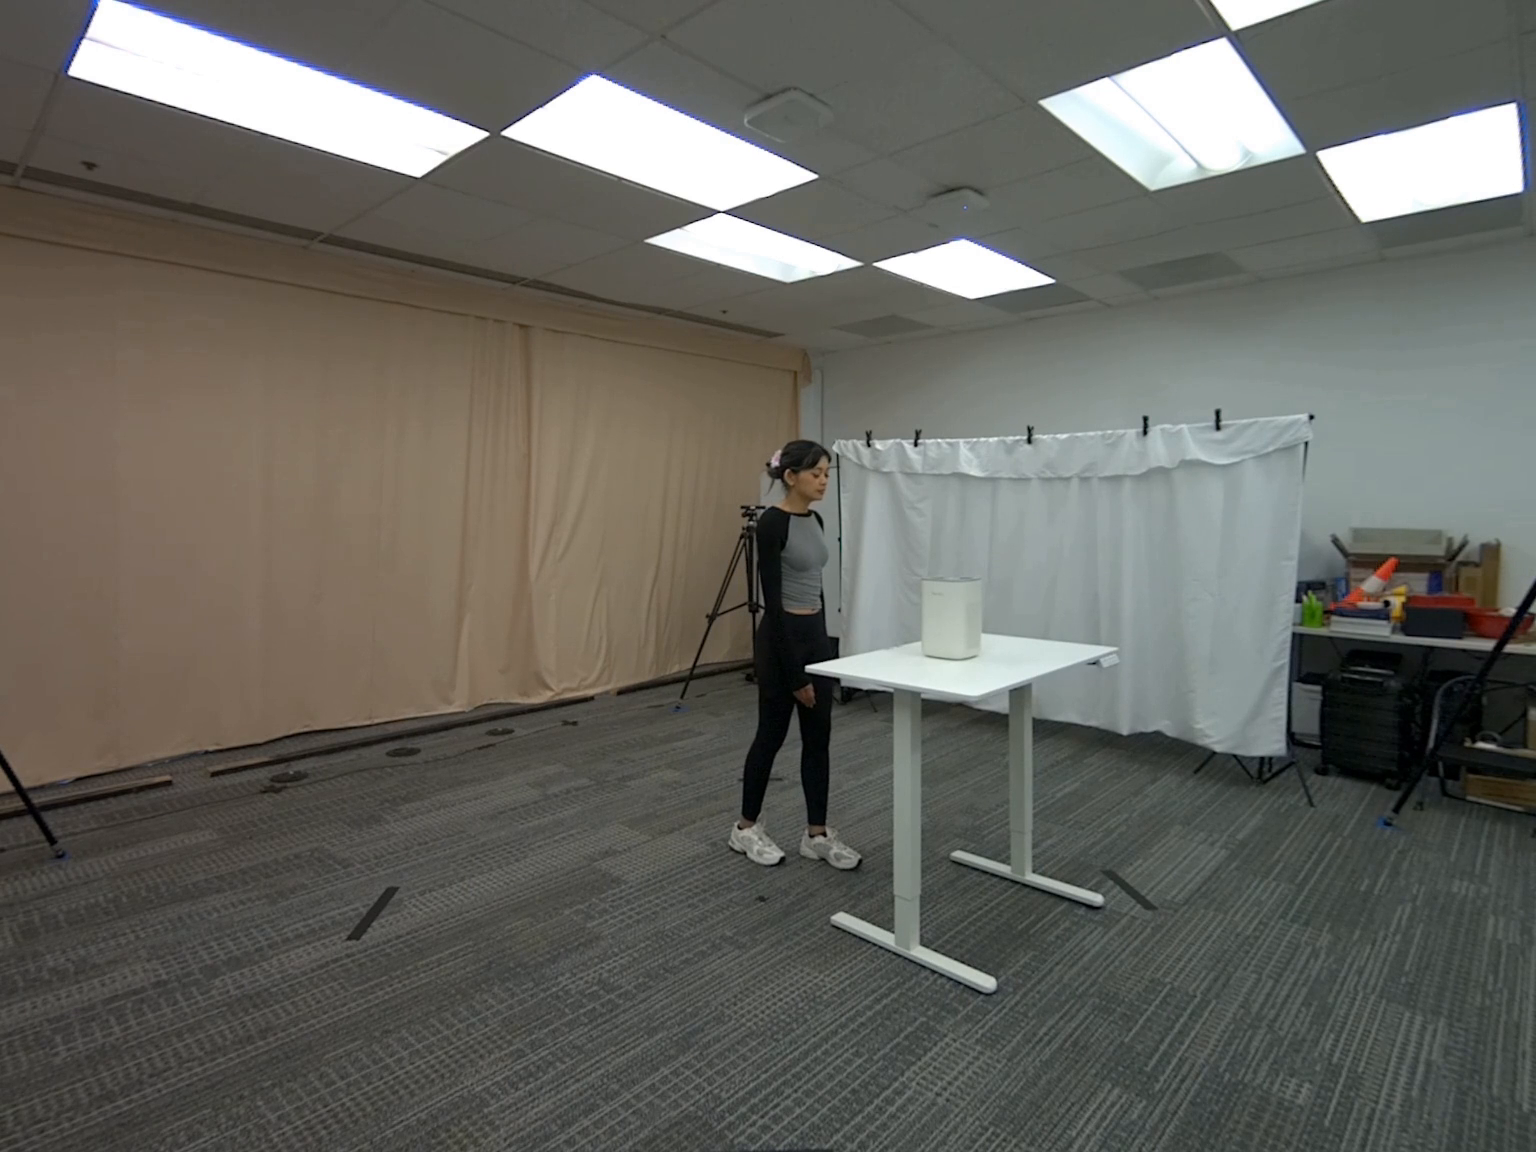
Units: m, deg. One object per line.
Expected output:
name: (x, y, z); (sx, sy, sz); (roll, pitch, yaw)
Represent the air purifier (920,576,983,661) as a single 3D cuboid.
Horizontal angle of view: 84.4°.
air purifier: (0.631, 0.140, 2.840); (0.177, 0.265, 0.166); (3, 5, 43)
